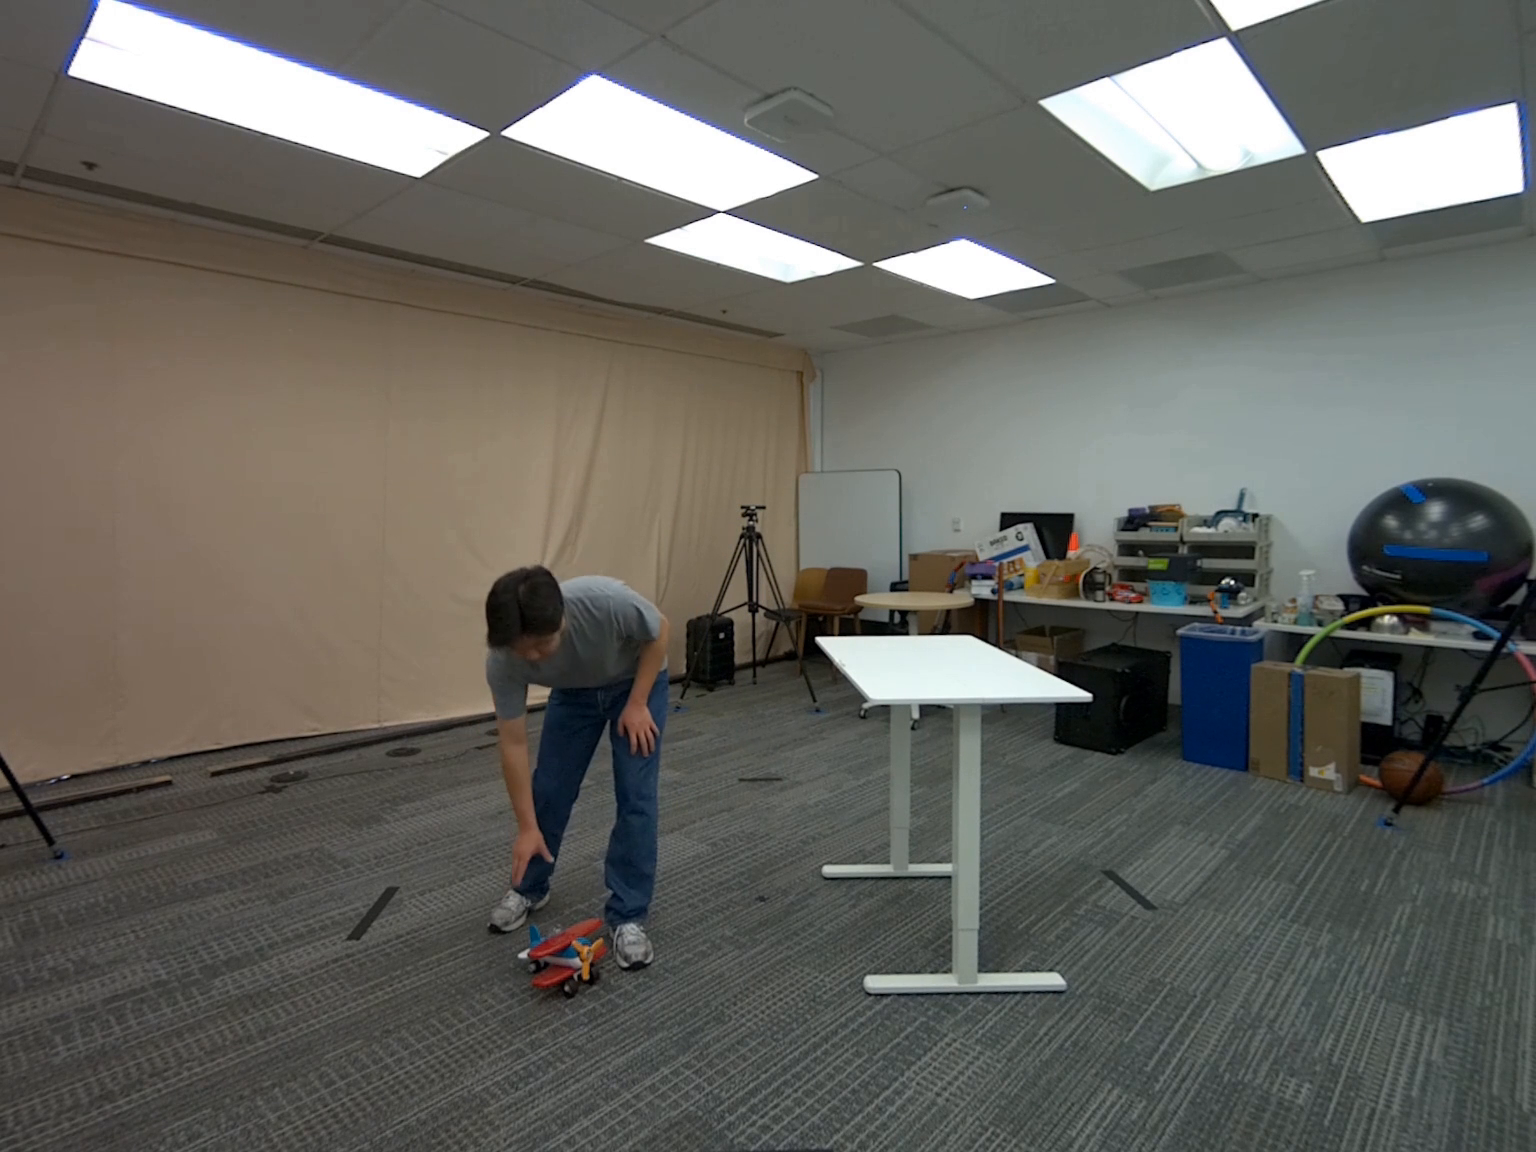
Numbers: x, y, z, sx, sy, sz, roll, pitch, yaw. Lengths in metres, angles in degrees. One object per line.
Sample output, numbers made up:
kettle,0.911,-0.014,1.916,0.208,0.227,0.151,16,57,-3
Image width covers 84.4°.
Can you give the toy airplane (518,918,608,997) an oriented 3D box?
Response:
toy airplane,-0.621,1.121,2.455,0.262,0.156,0.249,2,4,8
